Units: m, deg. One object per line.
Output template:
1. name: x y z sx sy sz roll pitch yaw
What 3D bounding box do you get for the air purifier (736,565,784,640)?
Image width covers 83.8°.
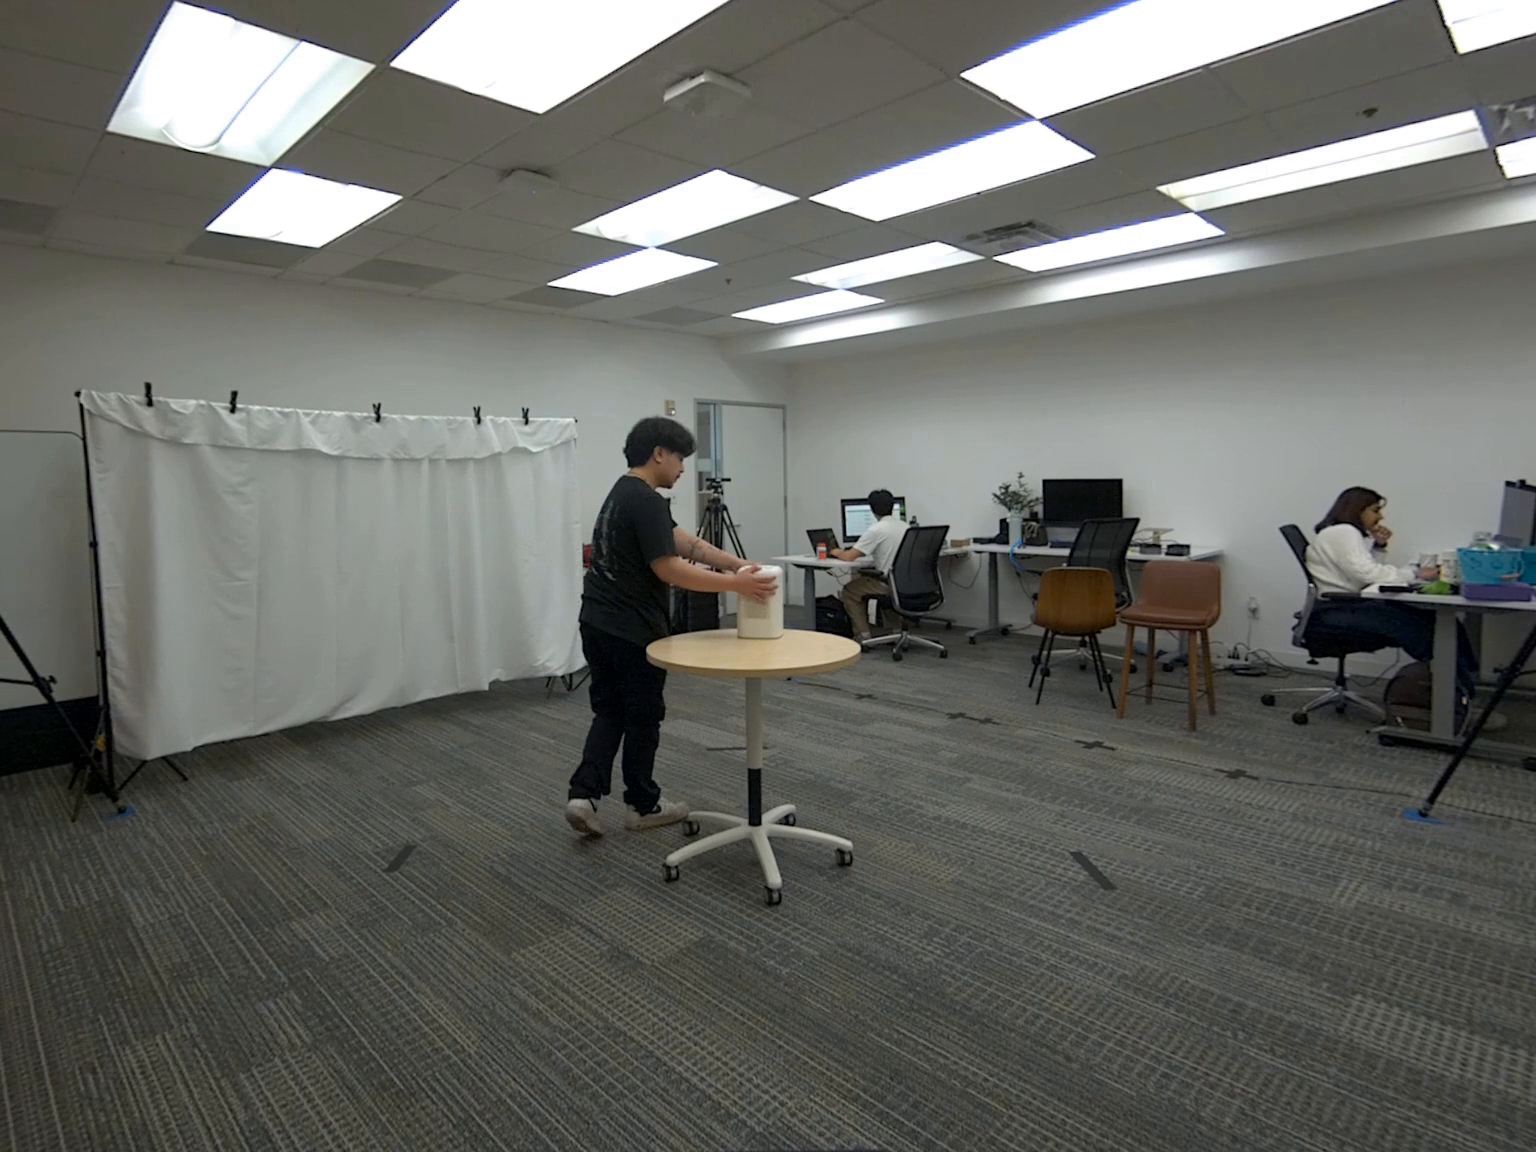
1. air purifier: -0.035 0.097 3.283 0.173 0.264 0.170 1 4 11
